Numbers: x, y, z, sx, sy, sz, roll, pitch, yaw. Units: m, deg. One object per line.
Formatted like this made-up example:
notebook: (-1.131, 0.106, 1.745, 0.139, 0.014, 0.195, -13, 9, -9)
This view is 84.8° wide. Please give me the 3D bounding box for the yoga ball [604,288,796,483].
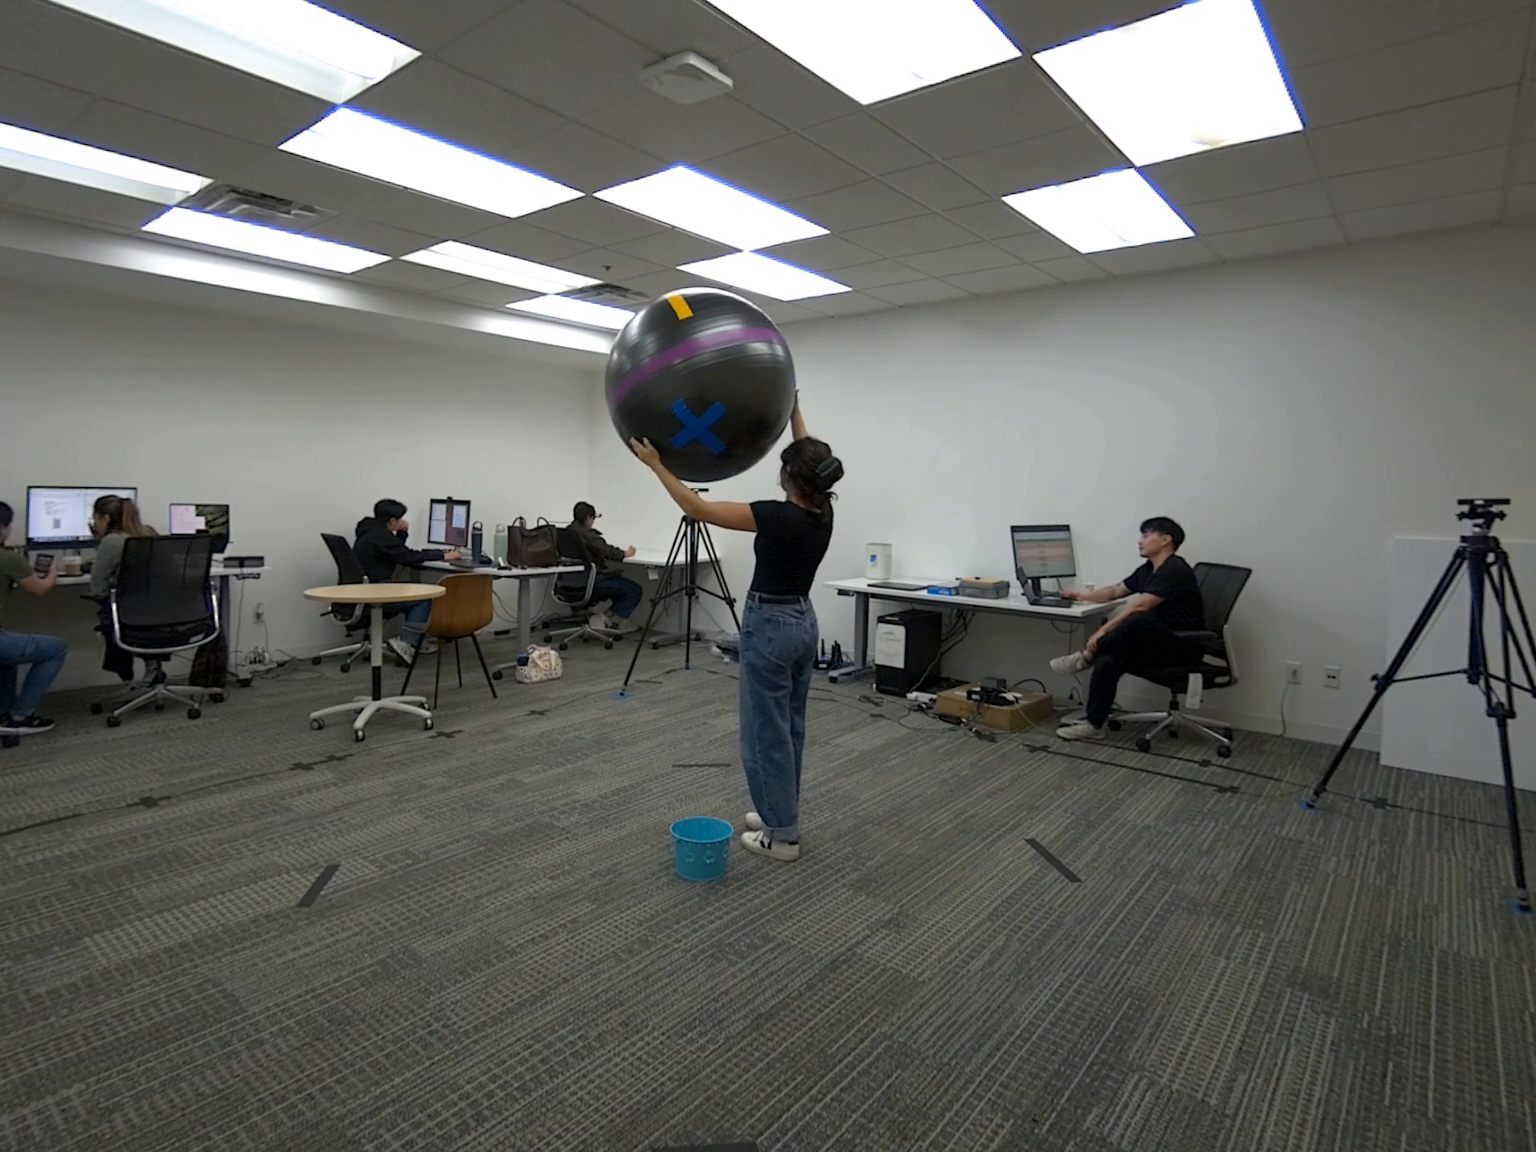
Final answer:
yoga ball: (-0.278, -0.755, 3.382, 0.757, 0.756, 0.762, 1, 4, -2)
